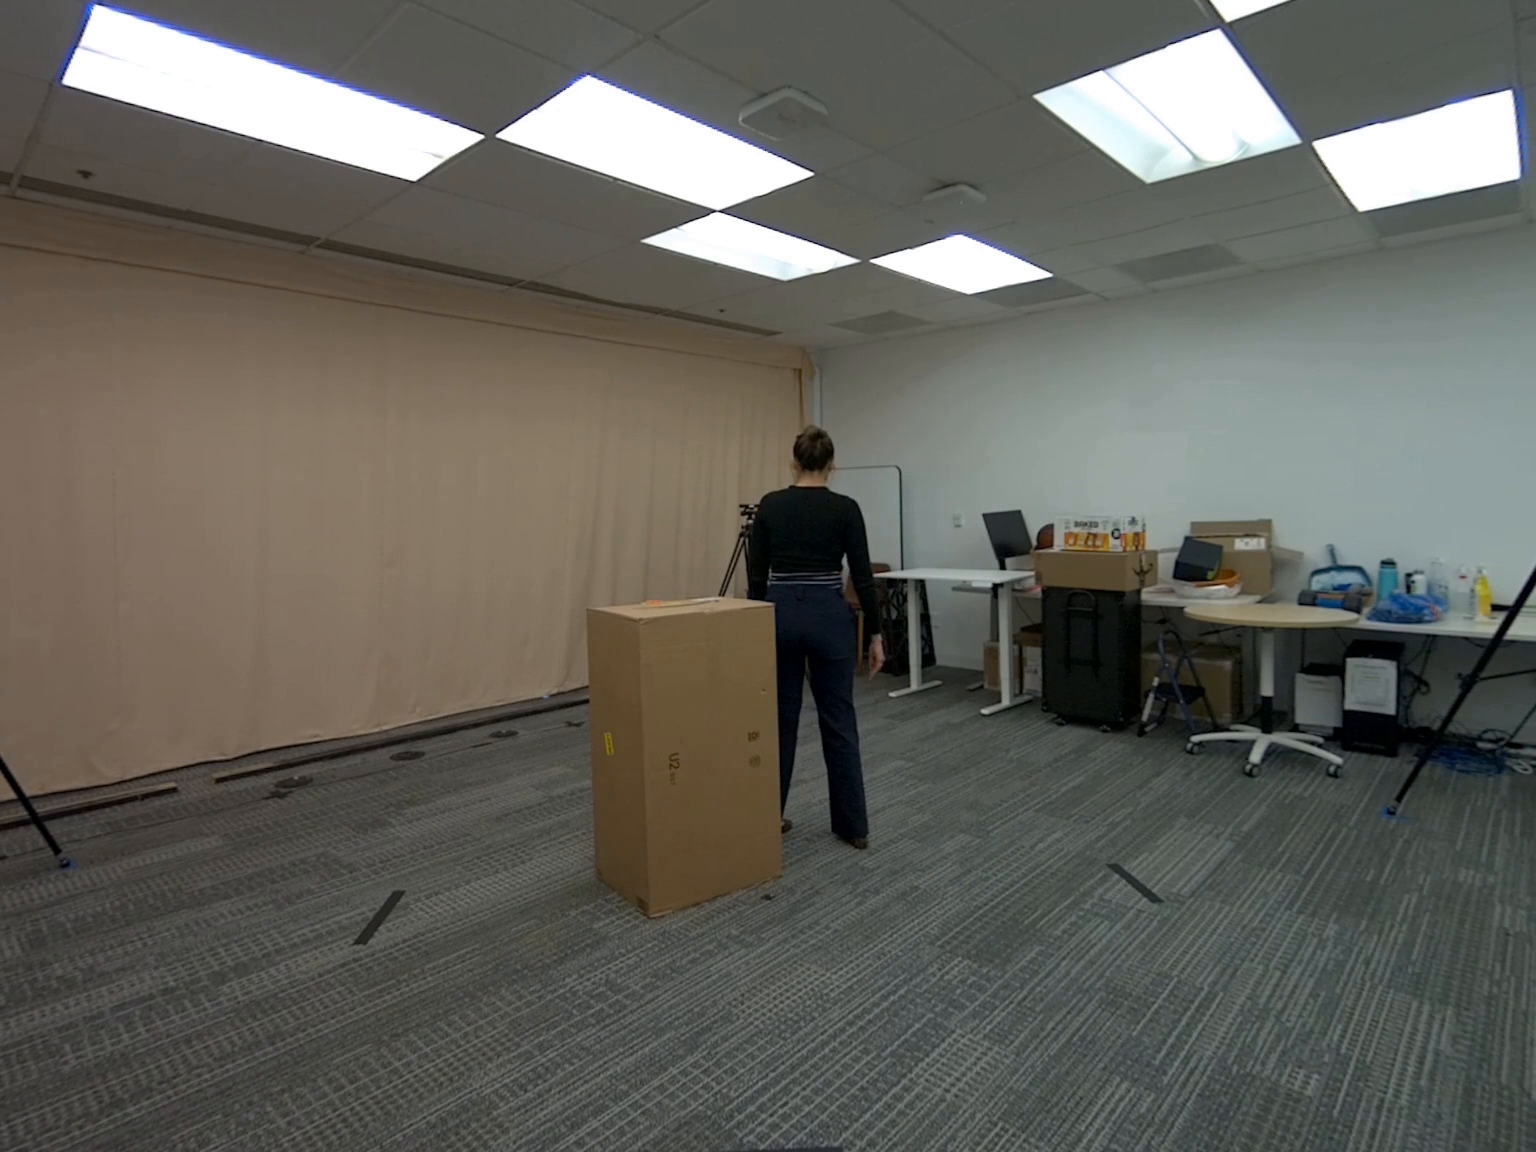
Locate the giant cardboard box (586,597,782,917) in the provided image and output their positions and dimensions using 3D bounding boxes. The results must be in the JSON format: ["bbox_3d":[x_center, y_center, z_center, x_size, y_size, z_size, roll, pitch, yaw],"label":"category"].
[{"bbox_3d":[-0.317,0.623,3.144,0.561,1.024,0.439,-4,4,-35],"label":"giant cardboard box"}]
